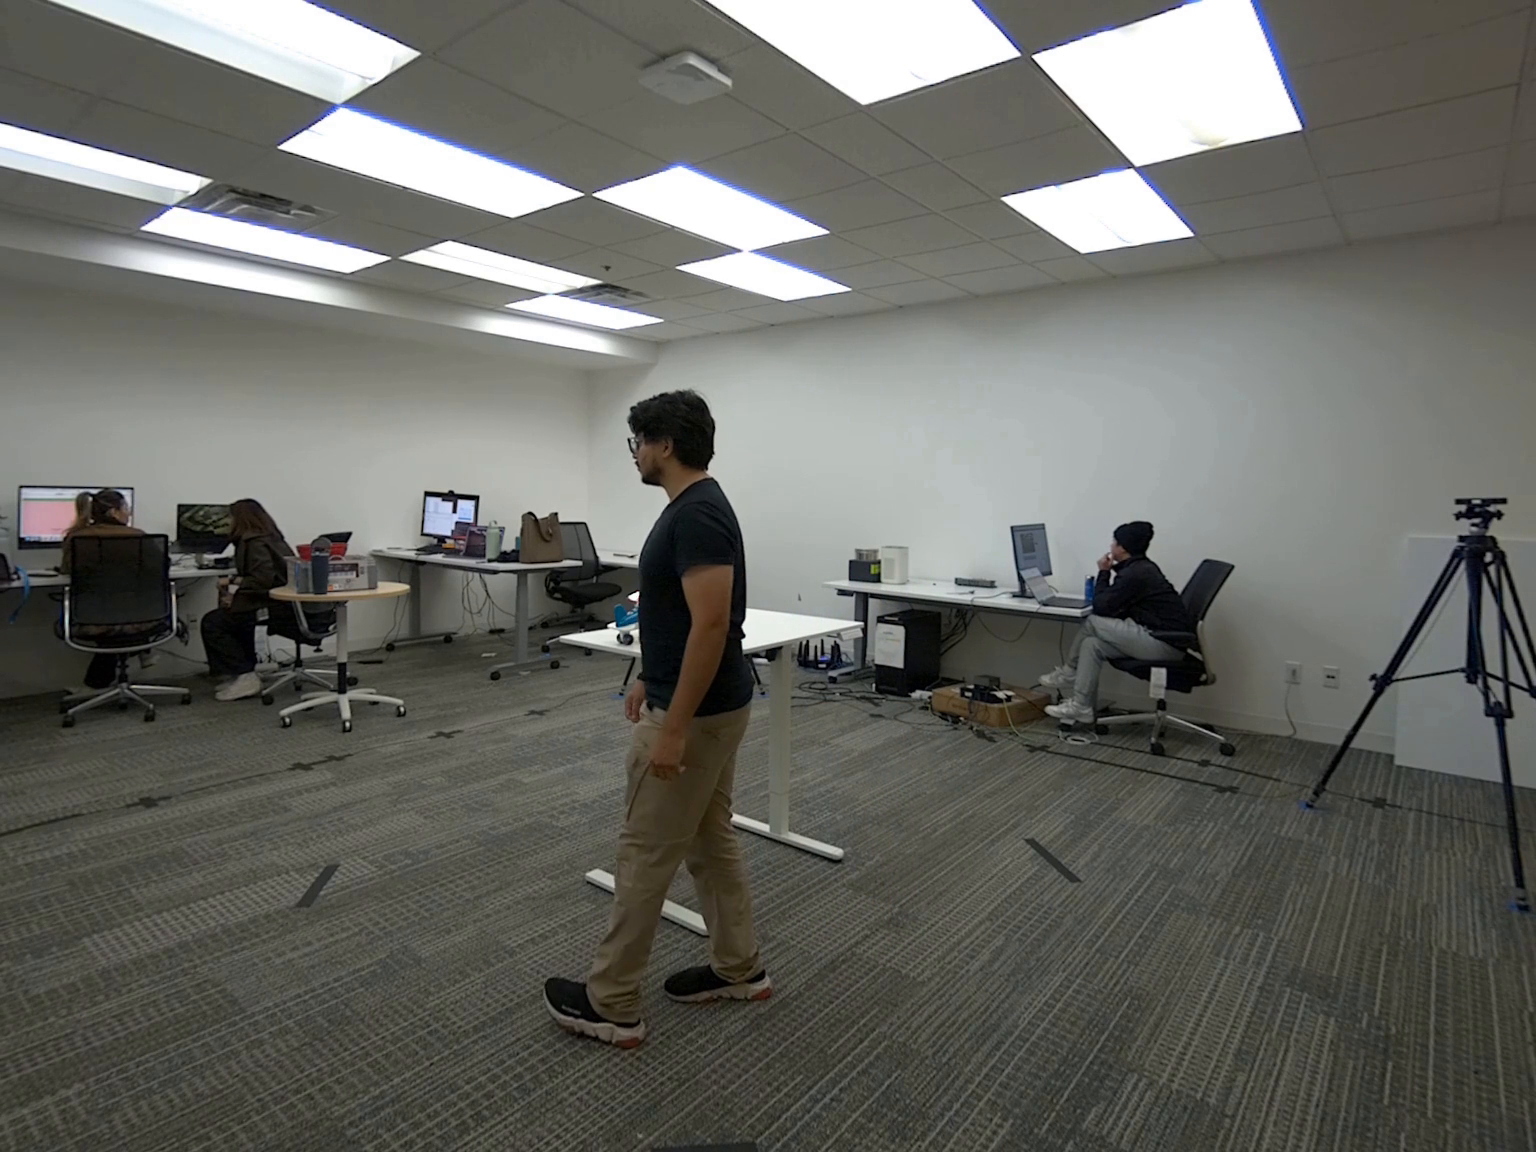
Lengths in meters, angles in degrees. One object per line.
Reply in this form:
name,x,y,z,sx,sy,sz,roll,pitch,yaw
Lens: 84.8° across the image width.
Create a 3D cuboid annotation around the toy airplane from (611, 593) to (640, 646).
toy airplane,-0.392,0.138,2.807,0.256,0.156,0.254,1,4,19
